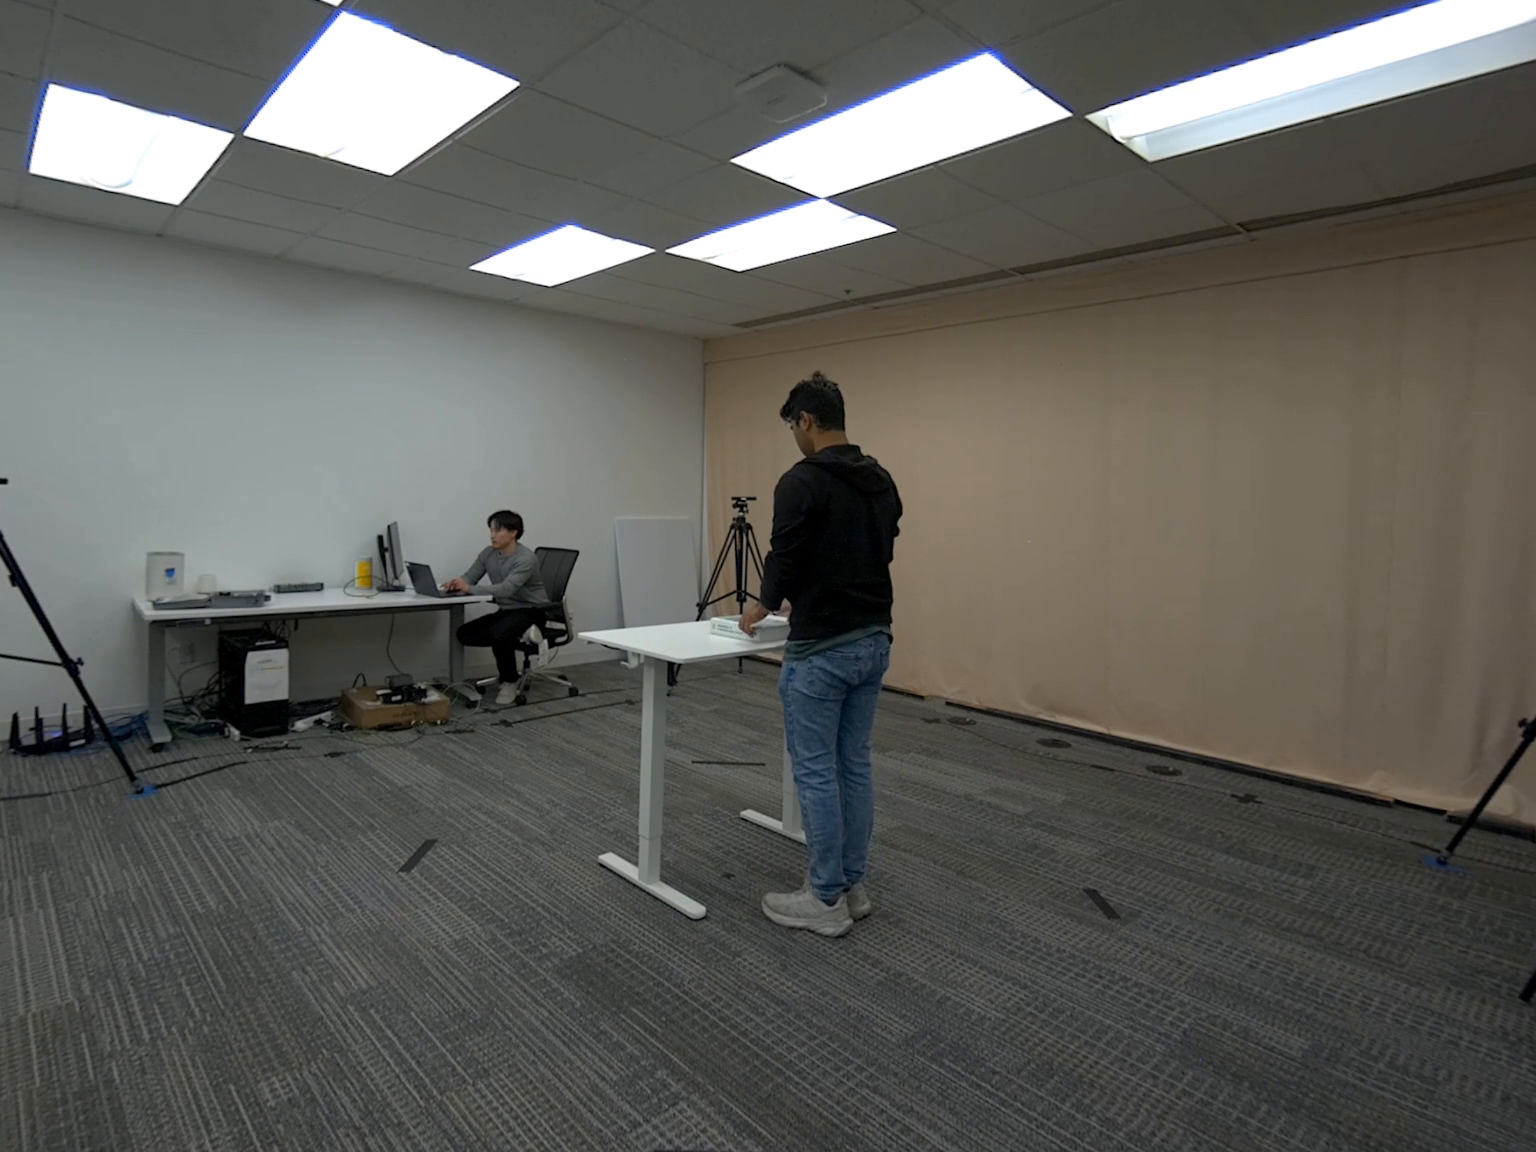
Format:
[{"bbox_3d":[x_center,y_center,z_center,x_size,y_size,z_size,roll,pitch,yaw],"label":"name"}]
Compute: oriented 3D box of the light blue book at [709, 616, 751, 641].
[{"bbox_3d":[-0.055,0.193,3.149,0.267,0.059,0.187,5,6,44],"label":"light blue book"}]
